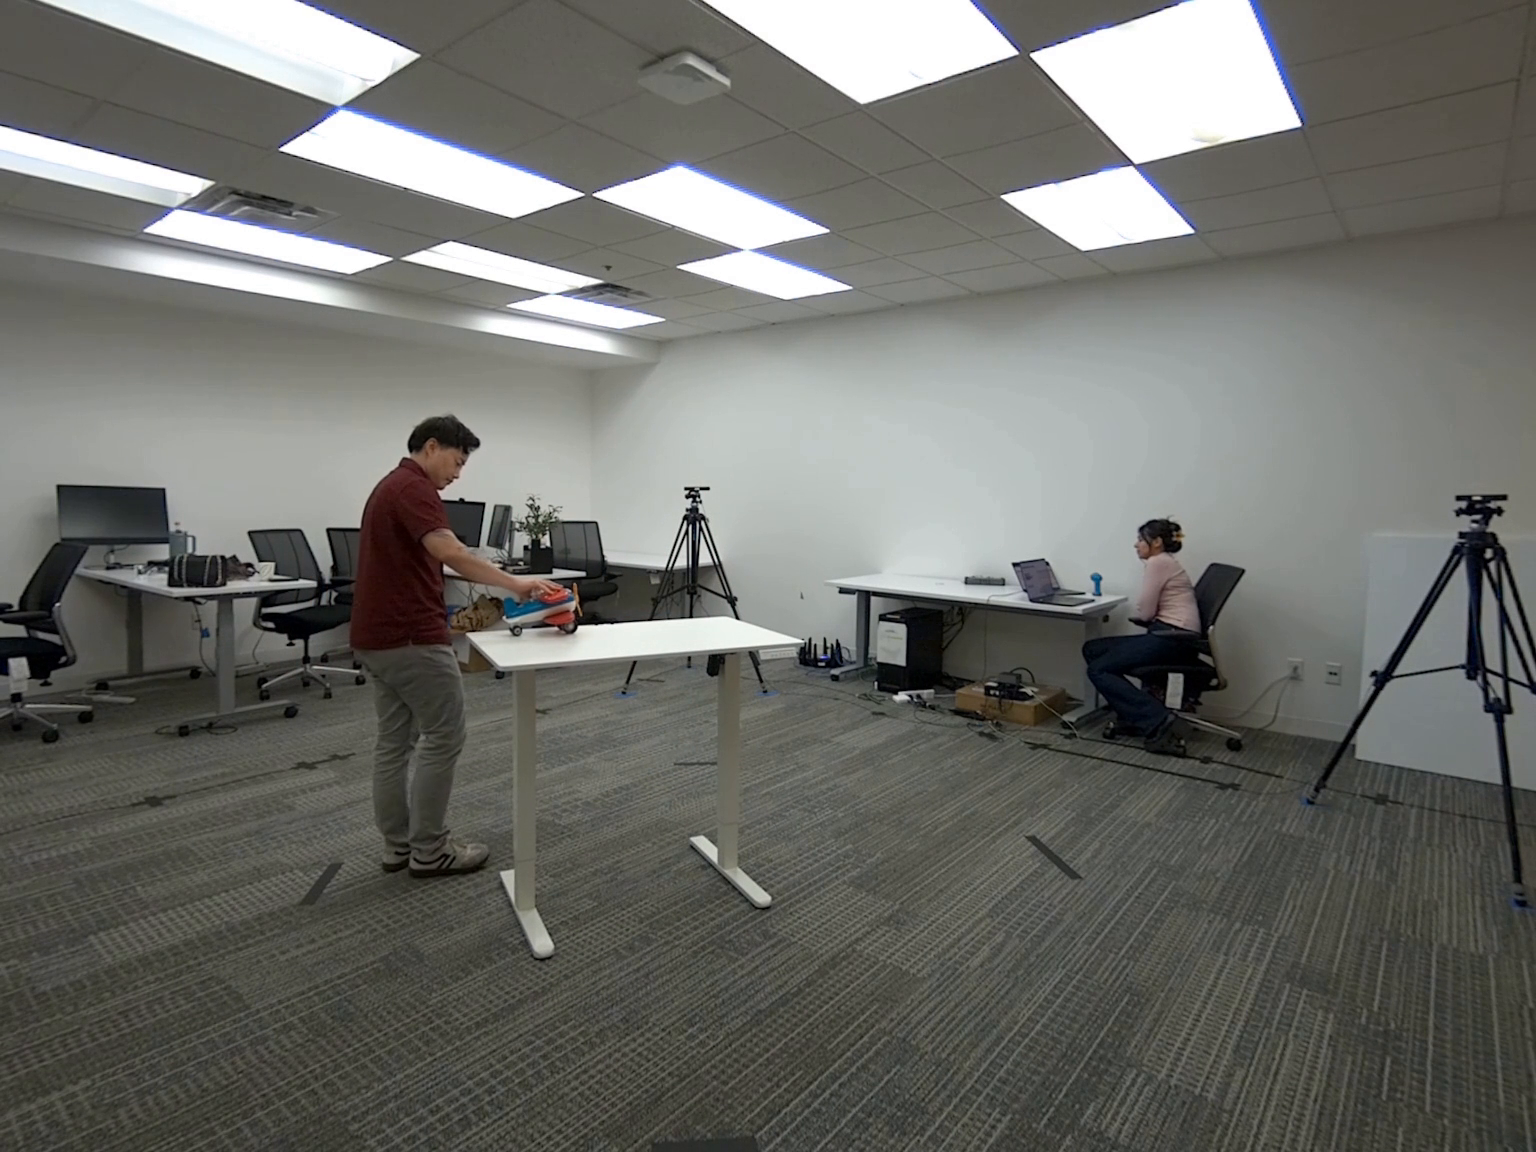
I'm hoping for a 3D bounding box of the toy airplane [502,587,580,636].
[{"bbox_3d":[-0.782,0.122,2.919,0.259,0.156,0.252,3,4,38],"label":"toy airplane"}]
